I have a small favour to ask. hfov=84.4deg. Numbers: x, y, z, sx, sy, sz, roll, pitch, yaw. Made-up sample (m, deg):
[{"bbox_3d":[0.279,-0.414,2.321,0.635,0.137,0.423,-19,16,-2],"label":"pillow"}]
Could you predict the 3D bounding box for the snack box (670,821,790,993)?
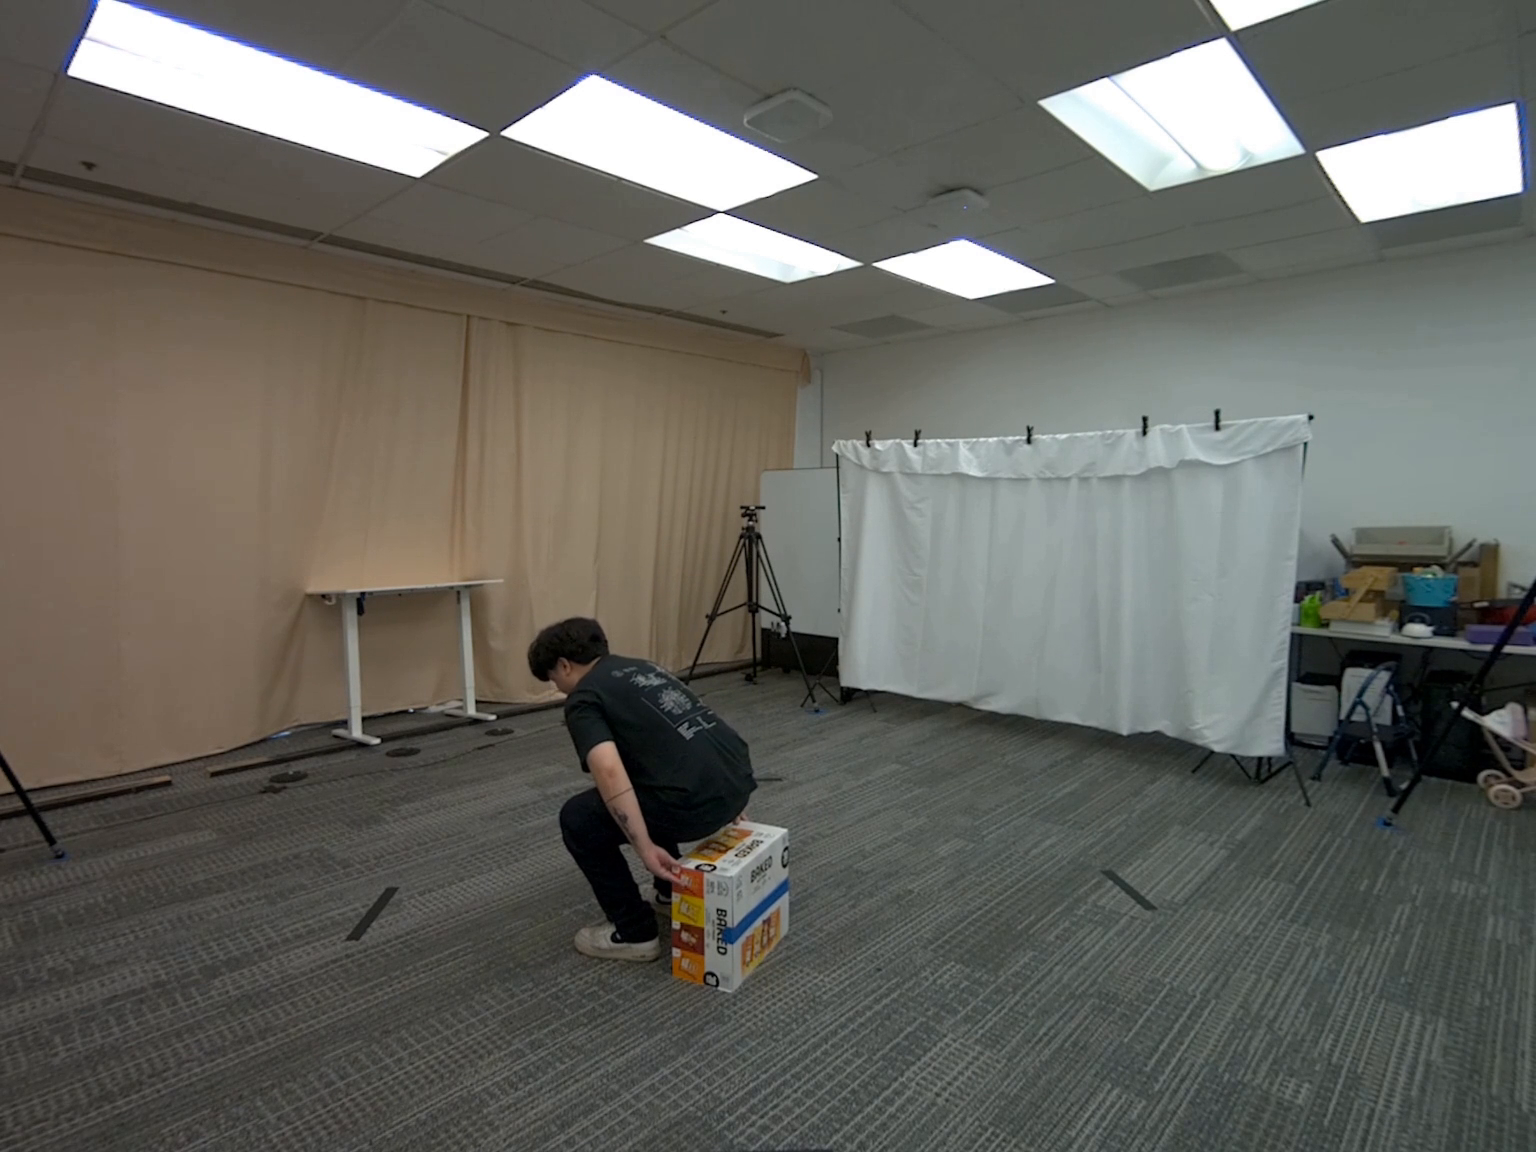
[{"bbox_3d":[-0.102,1.012,2.617,0.211,0.339,0.395,4,4,26],"label":"snack box"}]
